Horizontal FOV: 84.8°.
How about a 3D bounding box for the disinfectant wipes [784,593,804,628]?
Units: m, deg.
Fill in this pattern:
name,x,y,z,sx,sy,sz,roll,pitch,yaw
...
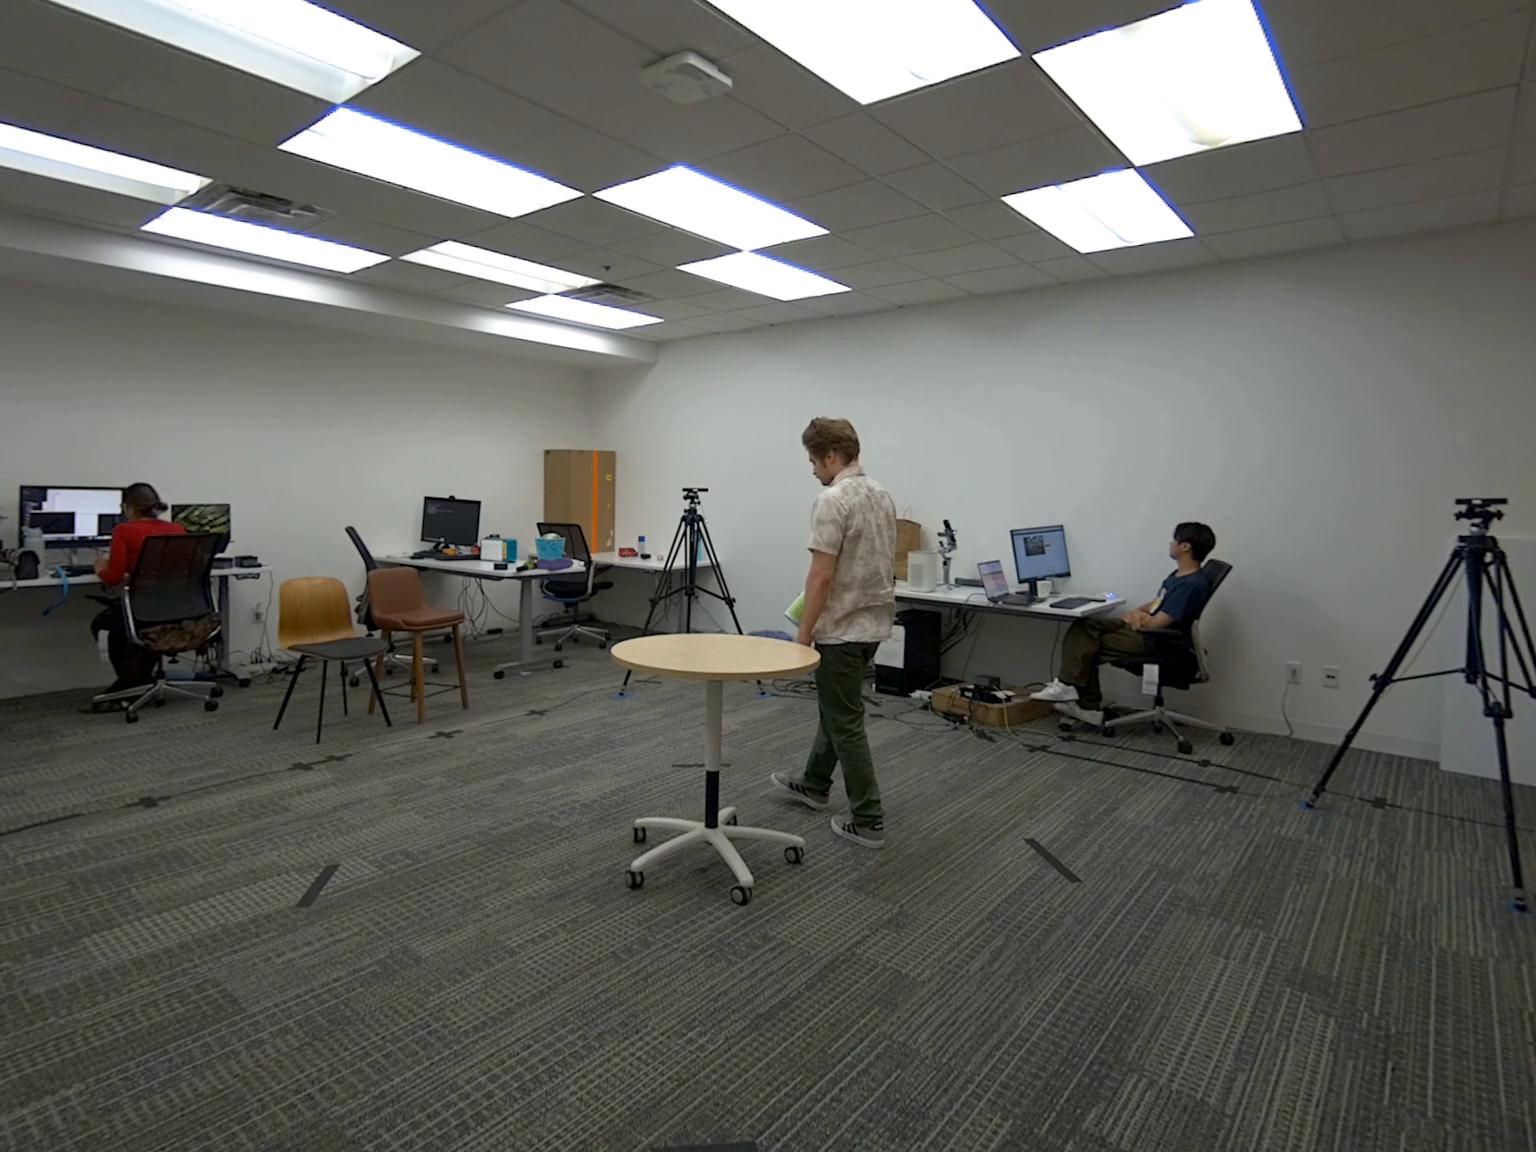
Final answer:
name,x,y,z,sx,sy,sz,roll,pitch,yaw
disinfectant wipes,0.166,0.125,3.886,0.118,0.217,0.118,41,-2,-1
